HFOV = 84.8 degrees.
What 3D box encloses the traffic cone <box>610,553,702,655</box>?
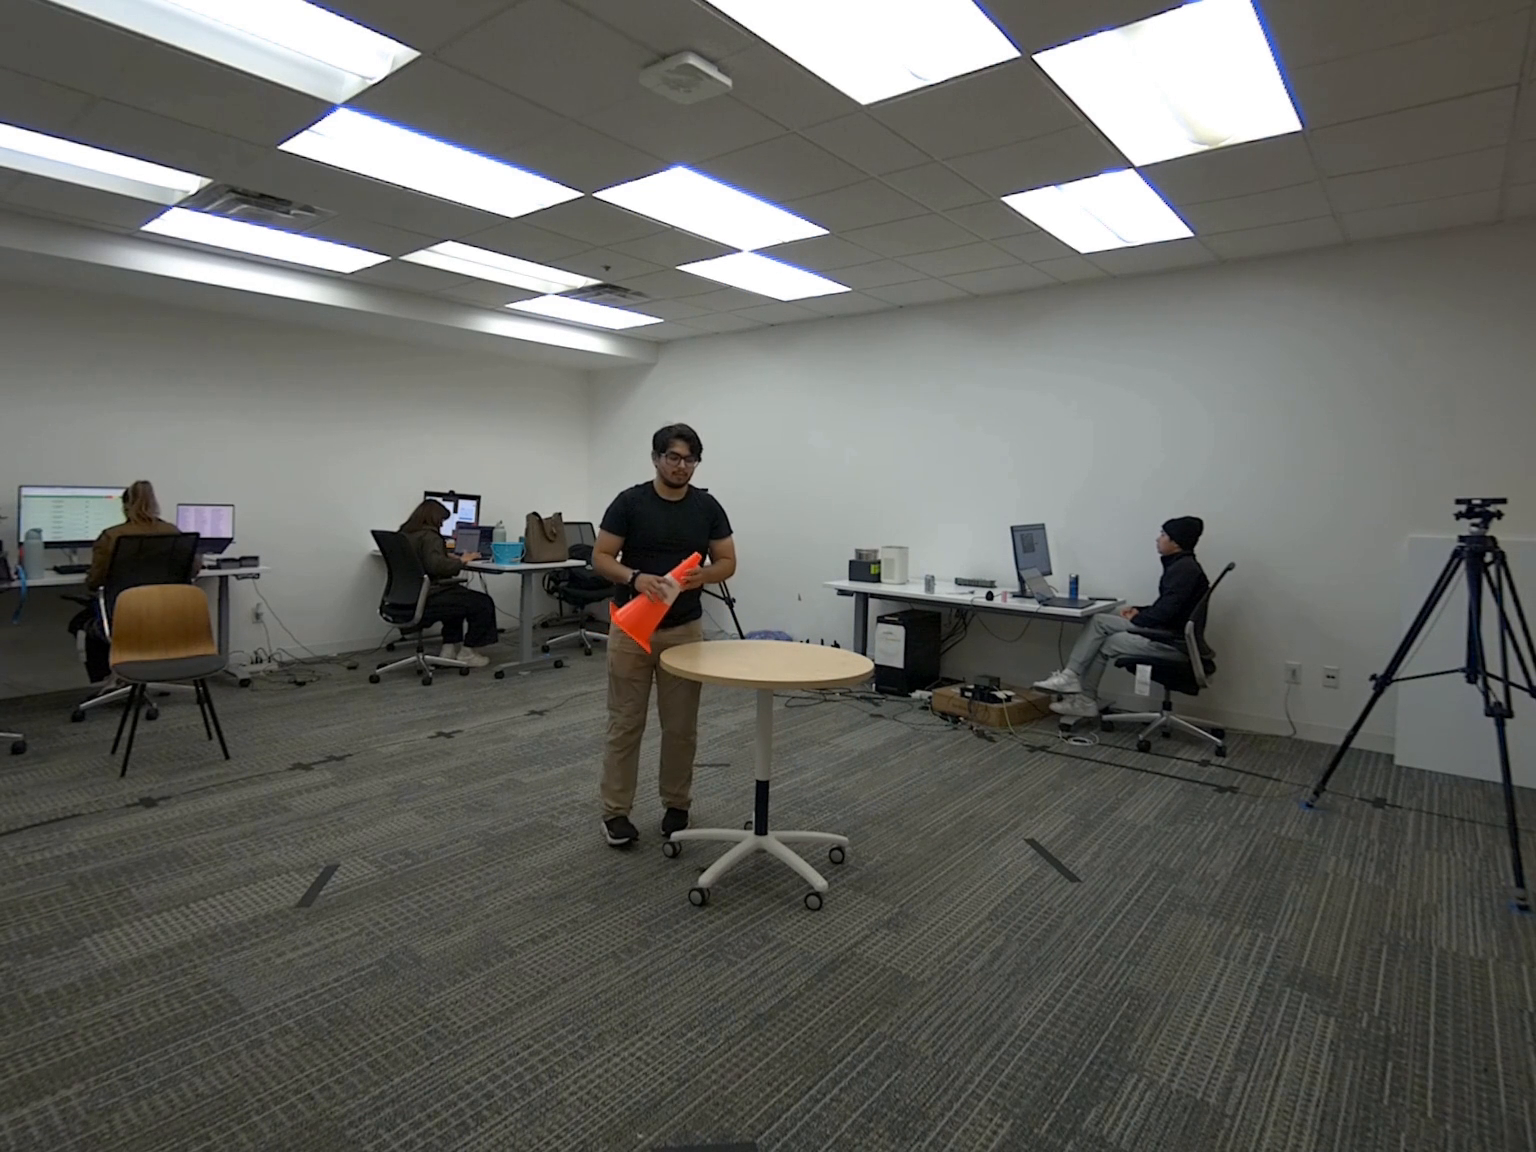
[{"bbox_3d":[-0.408,0.053,3.177,0.198,0.384,0.210,42,6,-19],"label":"traffic cone"}]
